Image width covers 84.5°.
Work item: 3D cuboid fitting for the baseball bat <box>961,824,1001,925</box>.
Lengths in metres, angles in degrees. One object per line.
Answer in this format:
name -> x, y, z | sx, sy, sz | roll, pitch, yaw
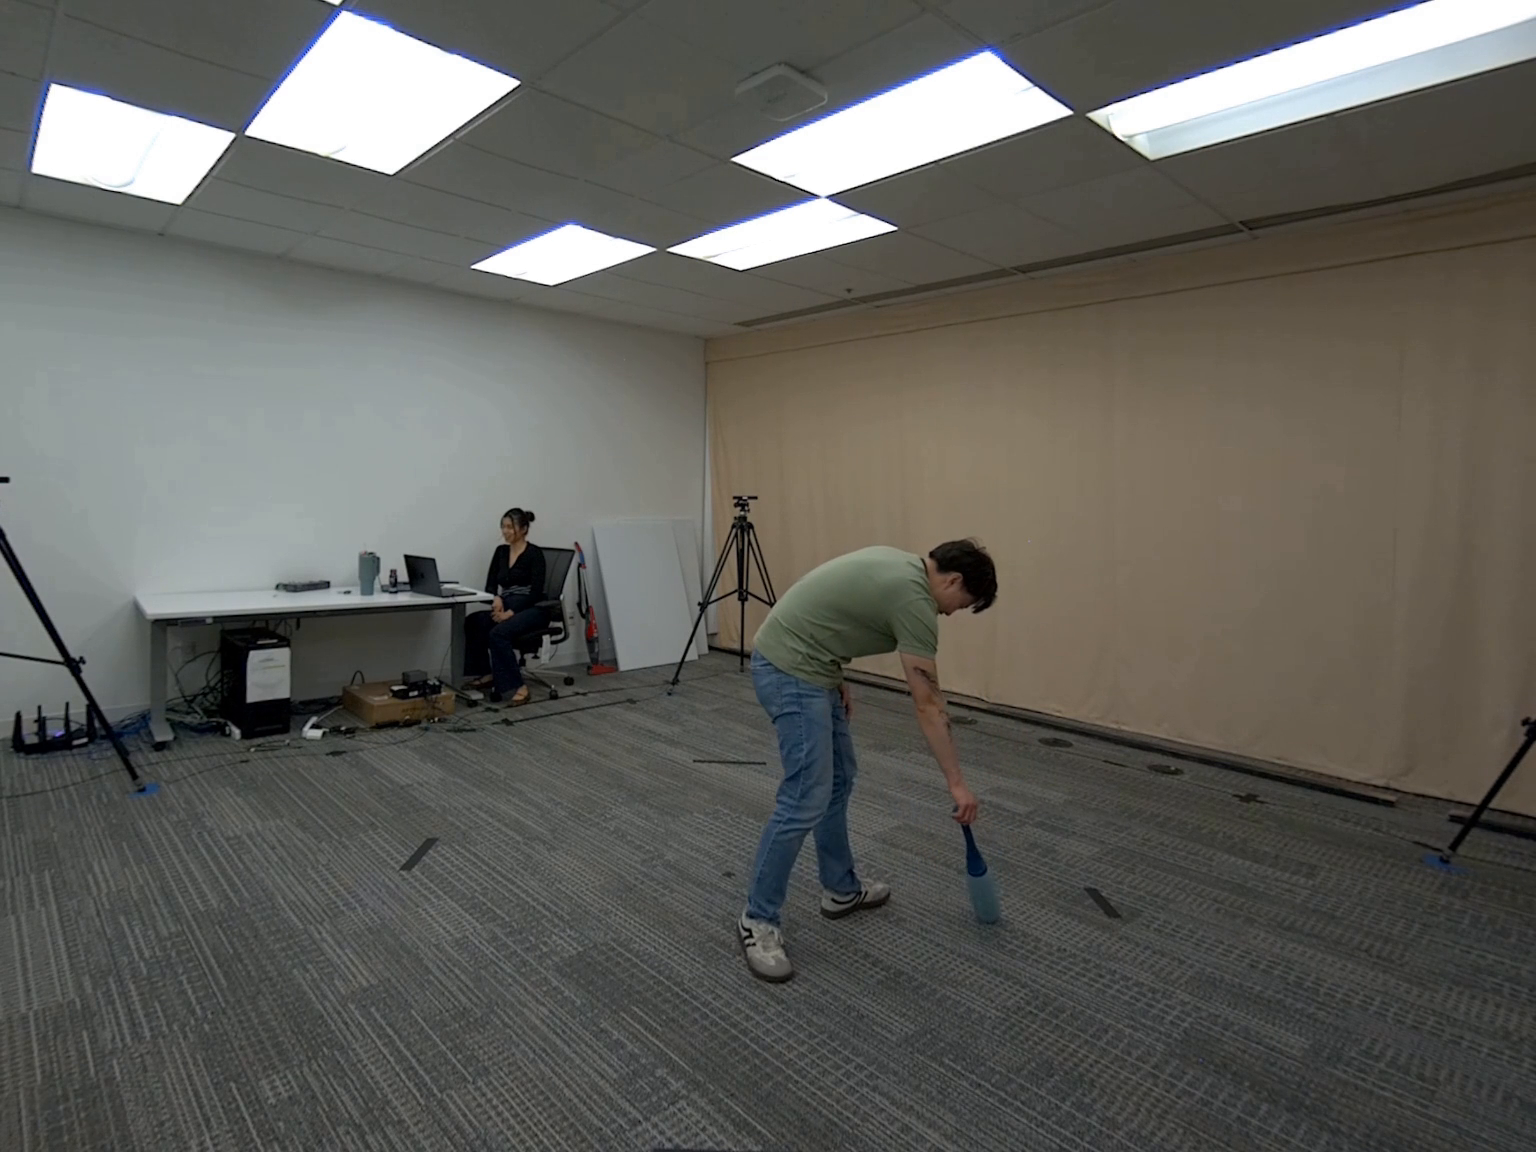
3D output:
baseball bat -> 0.661, 0.928, 2.681 | 0.089, 0.529, 0.091 | -15, 32, 9
